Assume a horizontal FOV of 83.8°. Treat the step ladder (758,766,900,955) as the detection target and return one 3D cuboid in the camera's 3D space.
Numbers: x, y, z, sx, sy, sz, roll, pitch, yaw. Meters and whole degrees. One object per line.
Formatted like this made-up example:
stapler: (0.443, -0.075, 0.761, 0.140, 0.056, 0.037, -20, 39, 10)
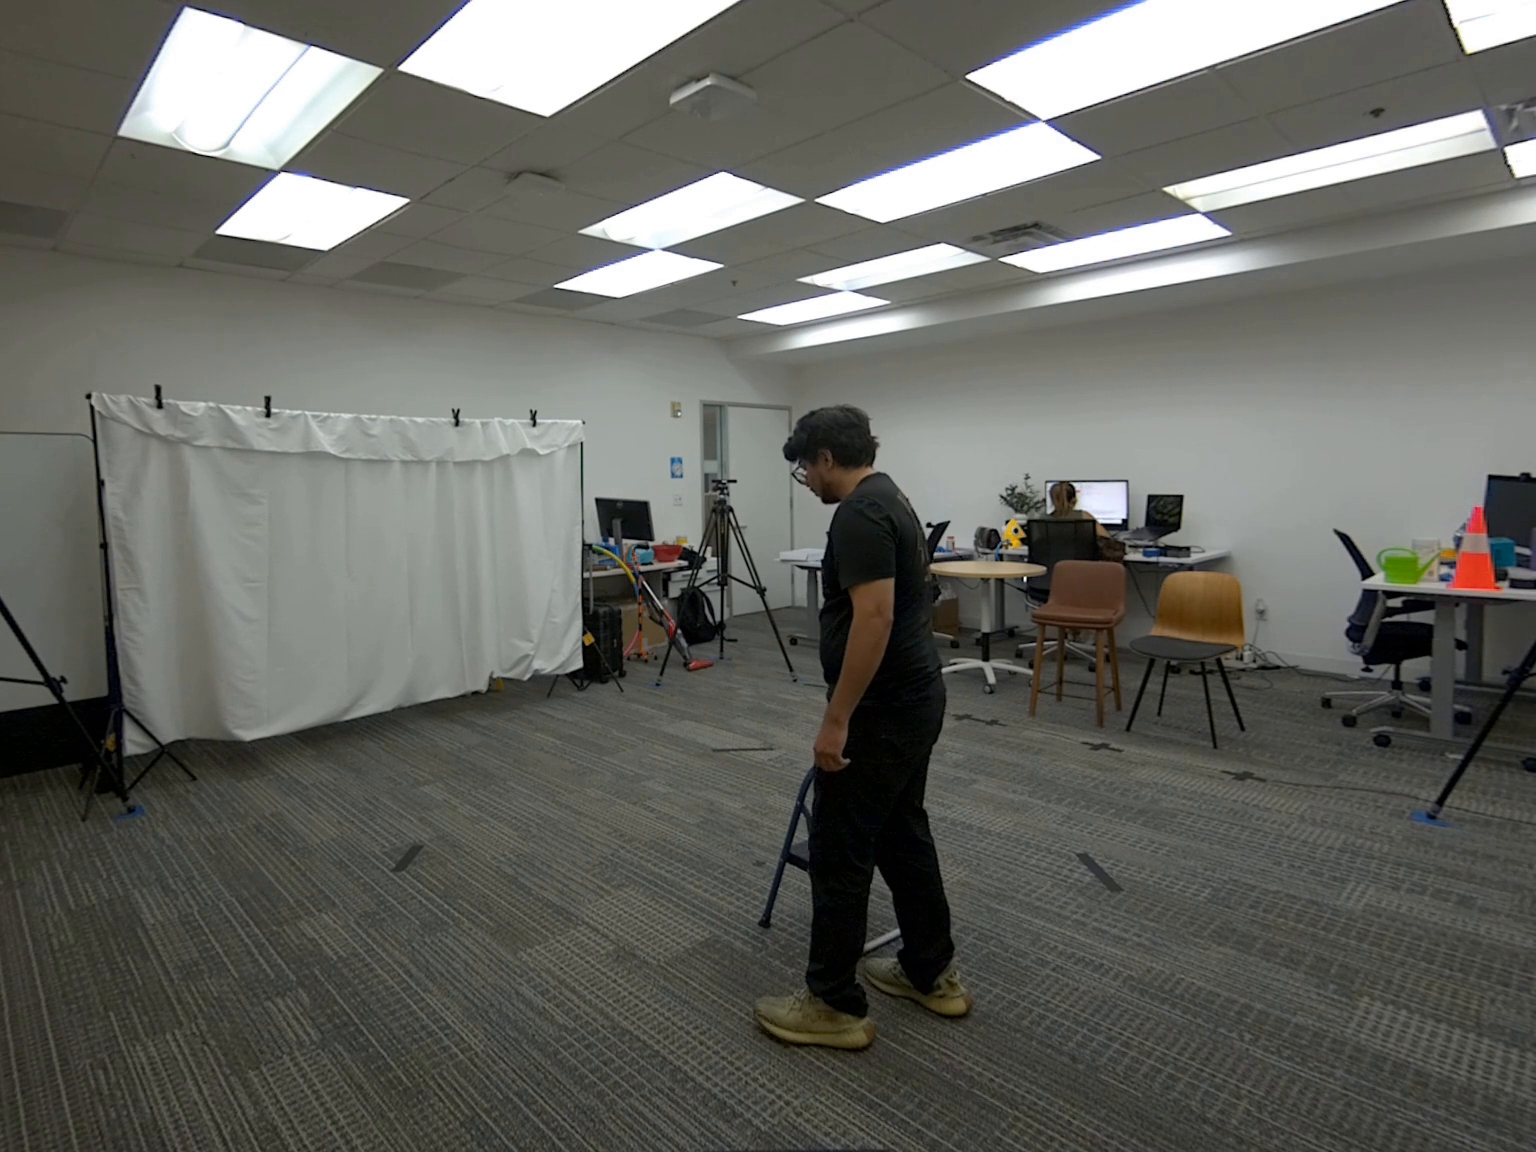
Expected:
step ladder: (0.243, 0.794, 2.661, 0.419, 0.604, 0.360, -5, 6, -40)
